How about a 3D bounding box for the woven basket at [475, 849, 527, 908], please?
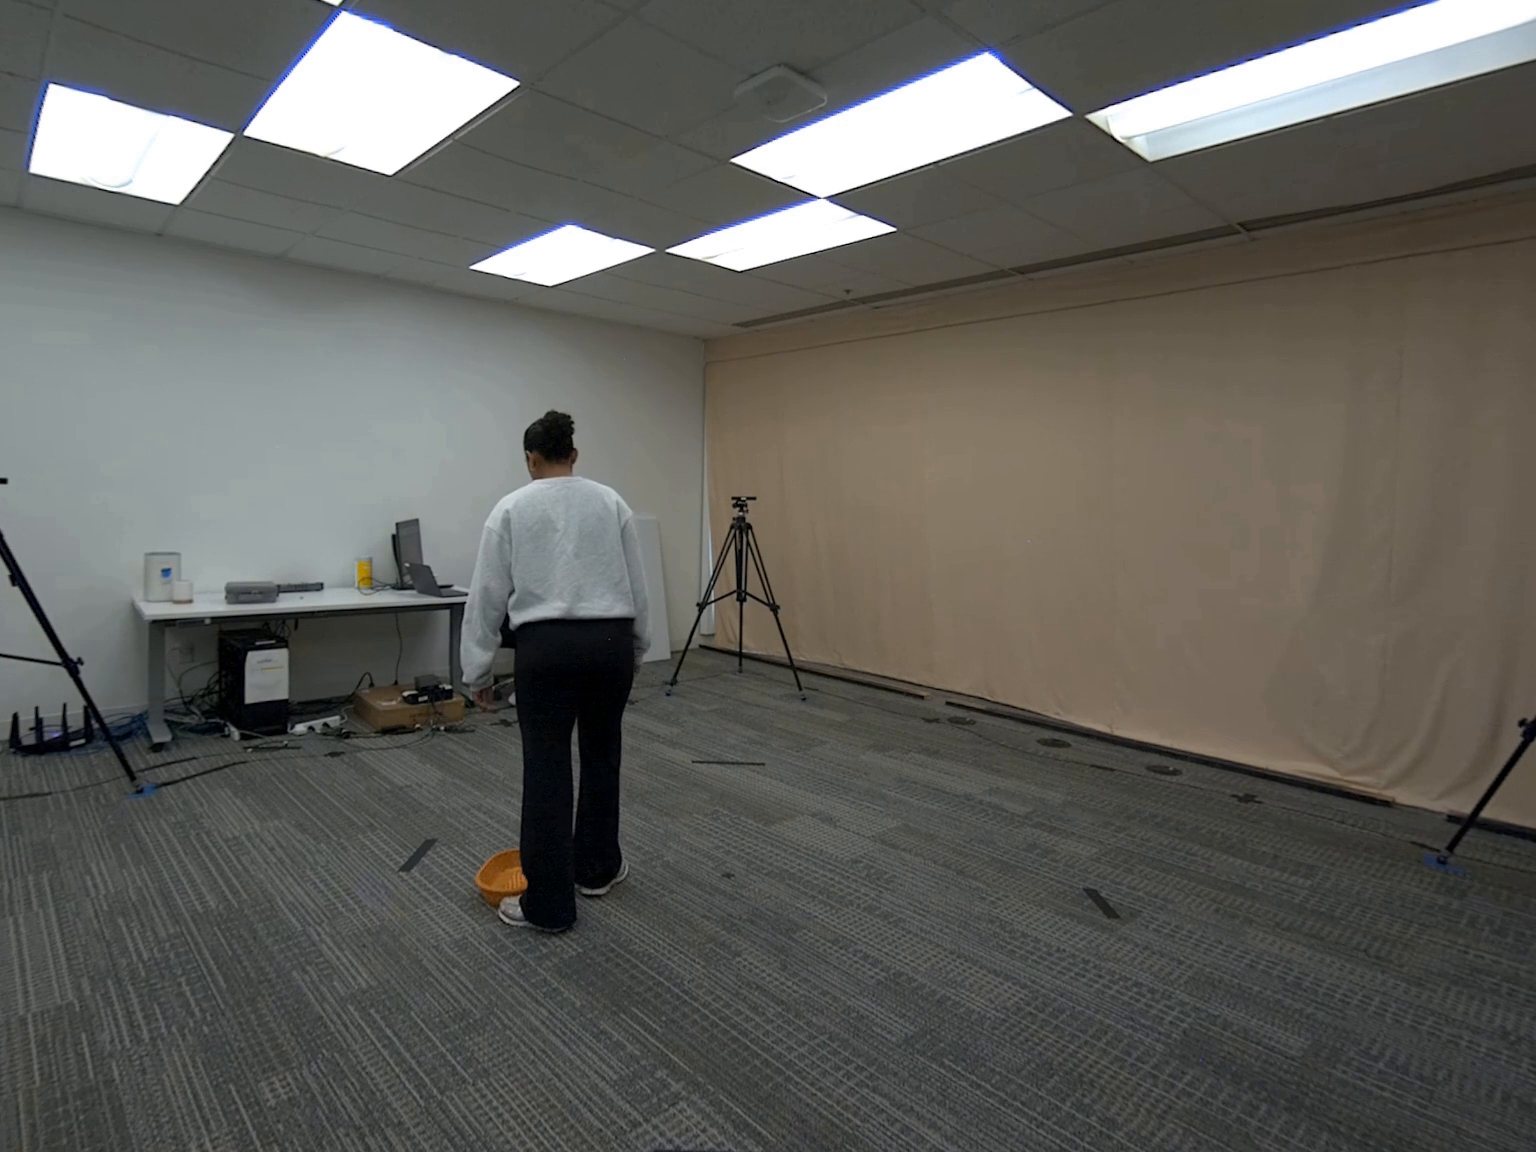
[{"bbox_3d":[-0.881,1.056,2.966,0.253,0.073,0.350,2,5,4],"label":"woven basket"}]
